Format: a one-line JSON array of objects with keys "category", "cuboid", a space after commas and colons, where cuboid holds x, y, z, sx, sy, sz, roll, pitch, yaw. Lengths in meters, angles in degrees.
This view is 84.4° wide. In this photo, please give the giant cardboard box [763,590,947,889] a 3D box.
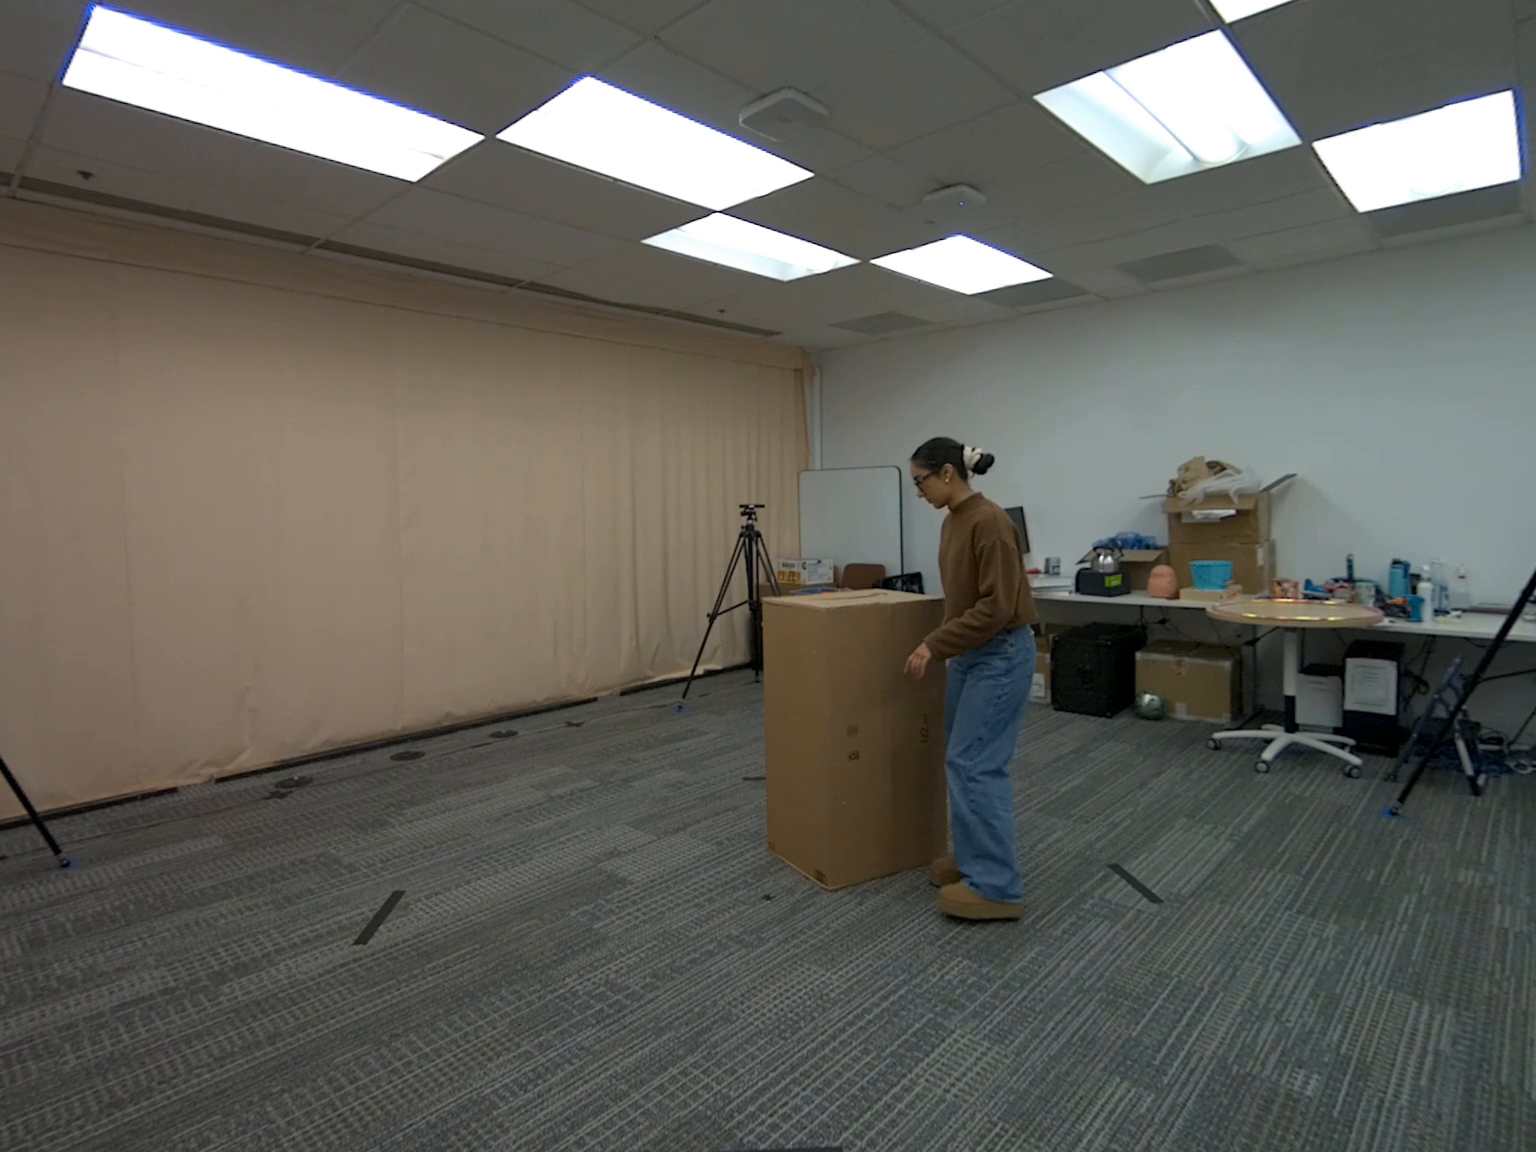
[{"category": "giant cardboard box", "cuboid": [0.336, 0.595, 3.318, 0.562, 1.023, 0.439, -4, 4, -31]}]
